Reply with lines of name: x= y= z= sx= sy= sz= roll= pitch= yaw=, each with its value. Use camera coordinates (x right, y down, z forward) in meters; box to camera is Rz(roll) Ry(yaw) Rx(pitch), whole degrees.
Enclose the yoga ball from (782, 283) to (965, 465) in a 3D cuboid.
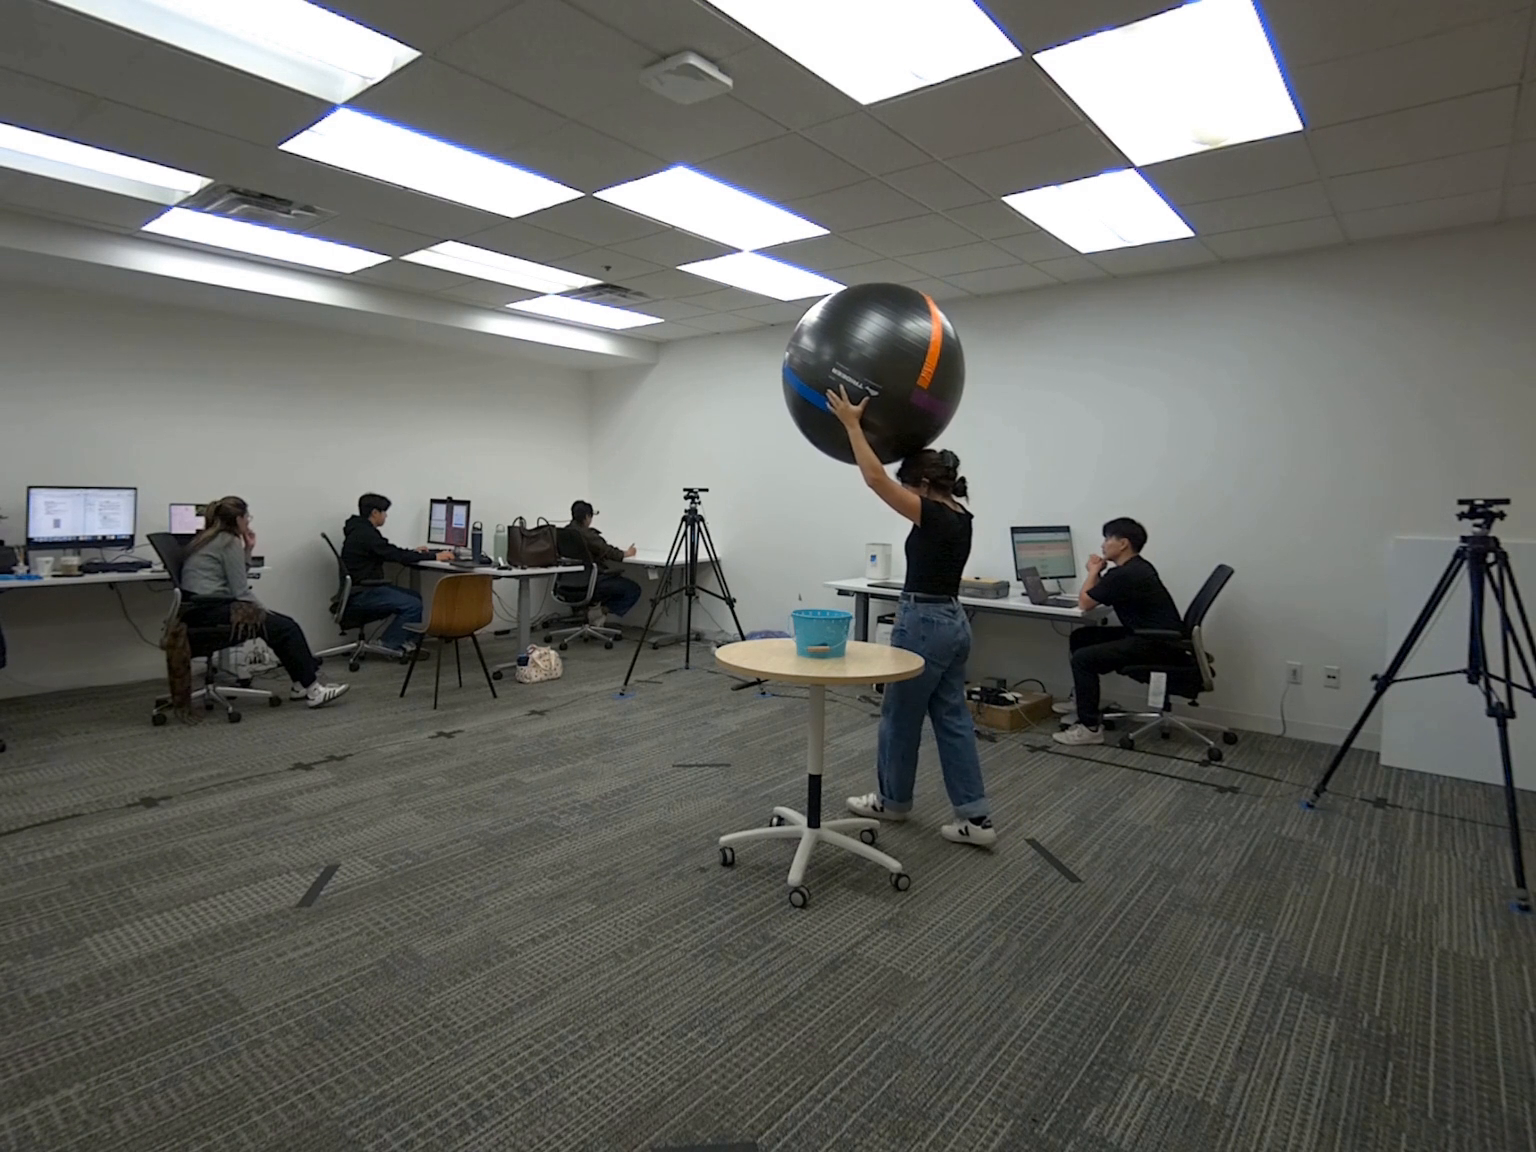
yoga ball: x=0.436 y=-0.843 z=3.585 sx=0.757 sy=0.755 sz=0.762 roll=1 pitch=4 yaw=-2
